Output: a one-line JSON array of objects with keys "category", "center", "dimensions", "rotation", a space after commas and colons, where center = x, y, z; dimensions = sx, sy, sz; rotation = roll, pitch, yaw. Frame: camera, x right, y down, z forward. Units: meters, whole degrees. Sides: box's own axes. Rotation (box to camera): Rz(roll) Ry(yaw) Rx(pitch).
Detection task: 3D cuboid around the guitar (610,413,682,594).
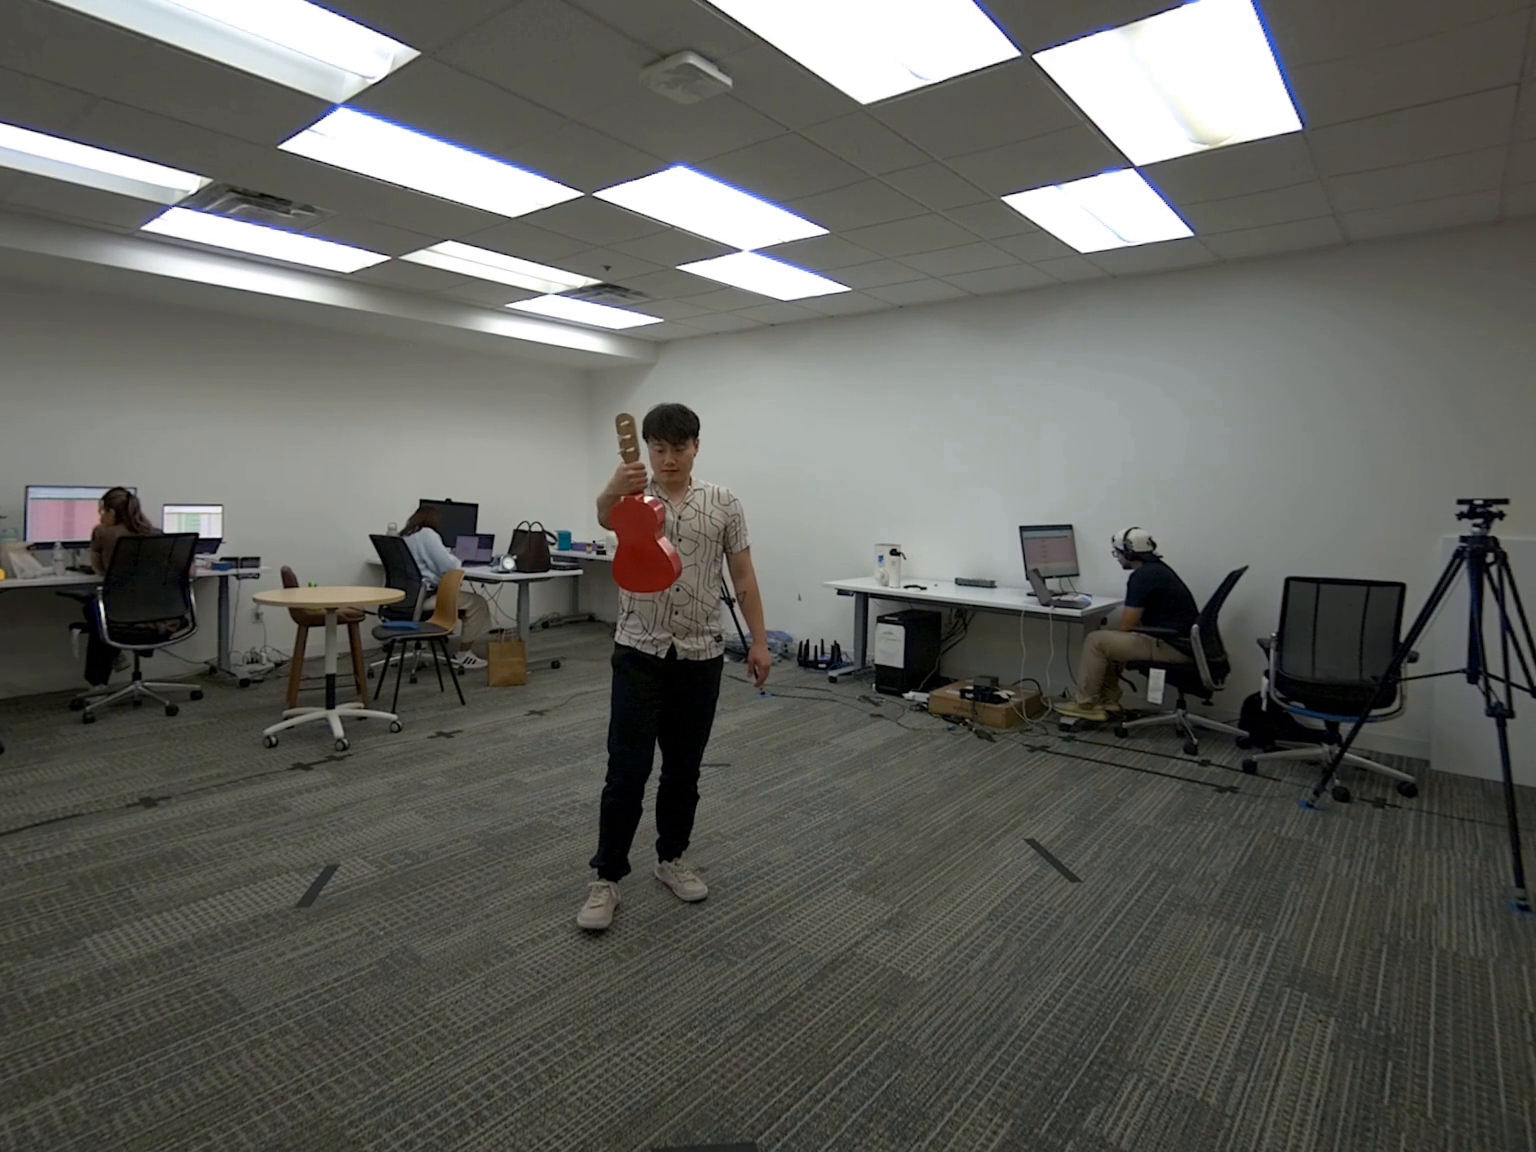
[{"category": "guitar", "center": [-0.401, -0.196, 2.368], "dimensions": [0.197, 0.491, 0.070], "rotation": [-9, 12, 23]}]
